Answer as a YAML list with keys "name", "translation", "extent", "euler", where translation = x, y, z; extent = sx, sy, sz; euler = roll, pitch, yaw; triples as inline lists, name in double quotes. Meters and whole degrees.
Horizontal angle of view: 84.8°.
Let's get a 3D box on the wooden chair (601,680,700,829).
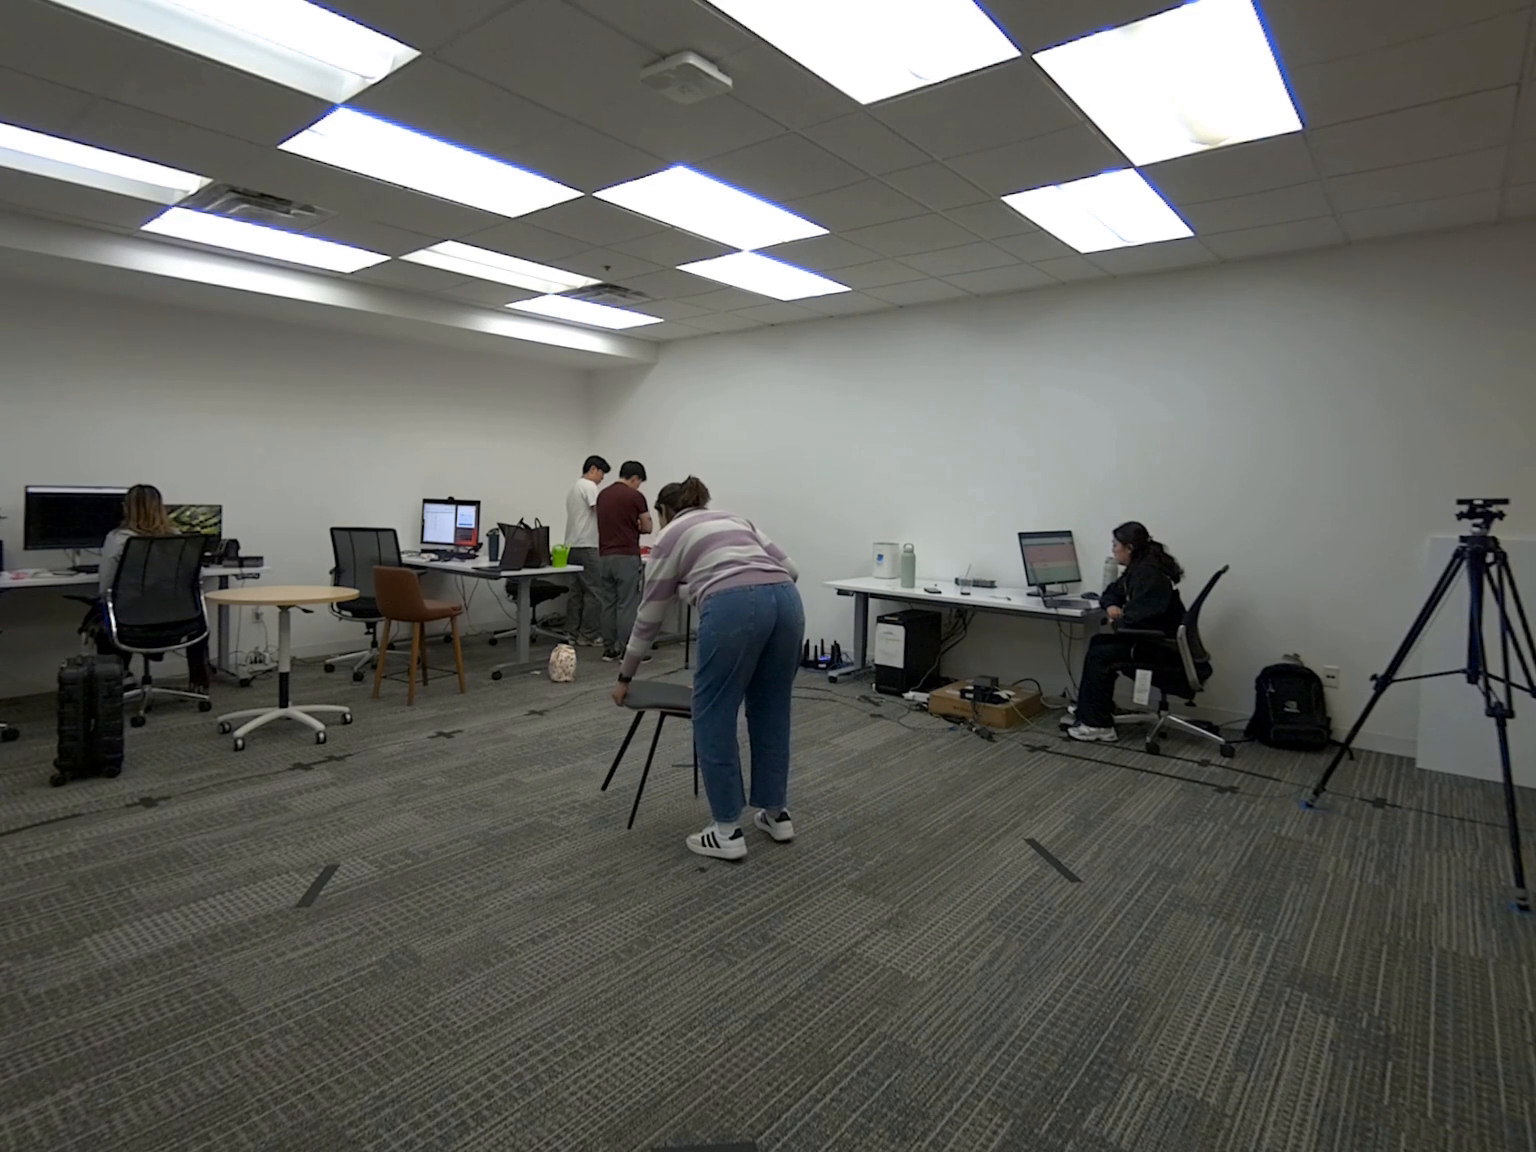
- name: "wooden chair"
  translation: [-0.396, 0.558, 3.570]
  extent: [0.509, 0.877, 0.491]
  euler: [13, 0, -24]
